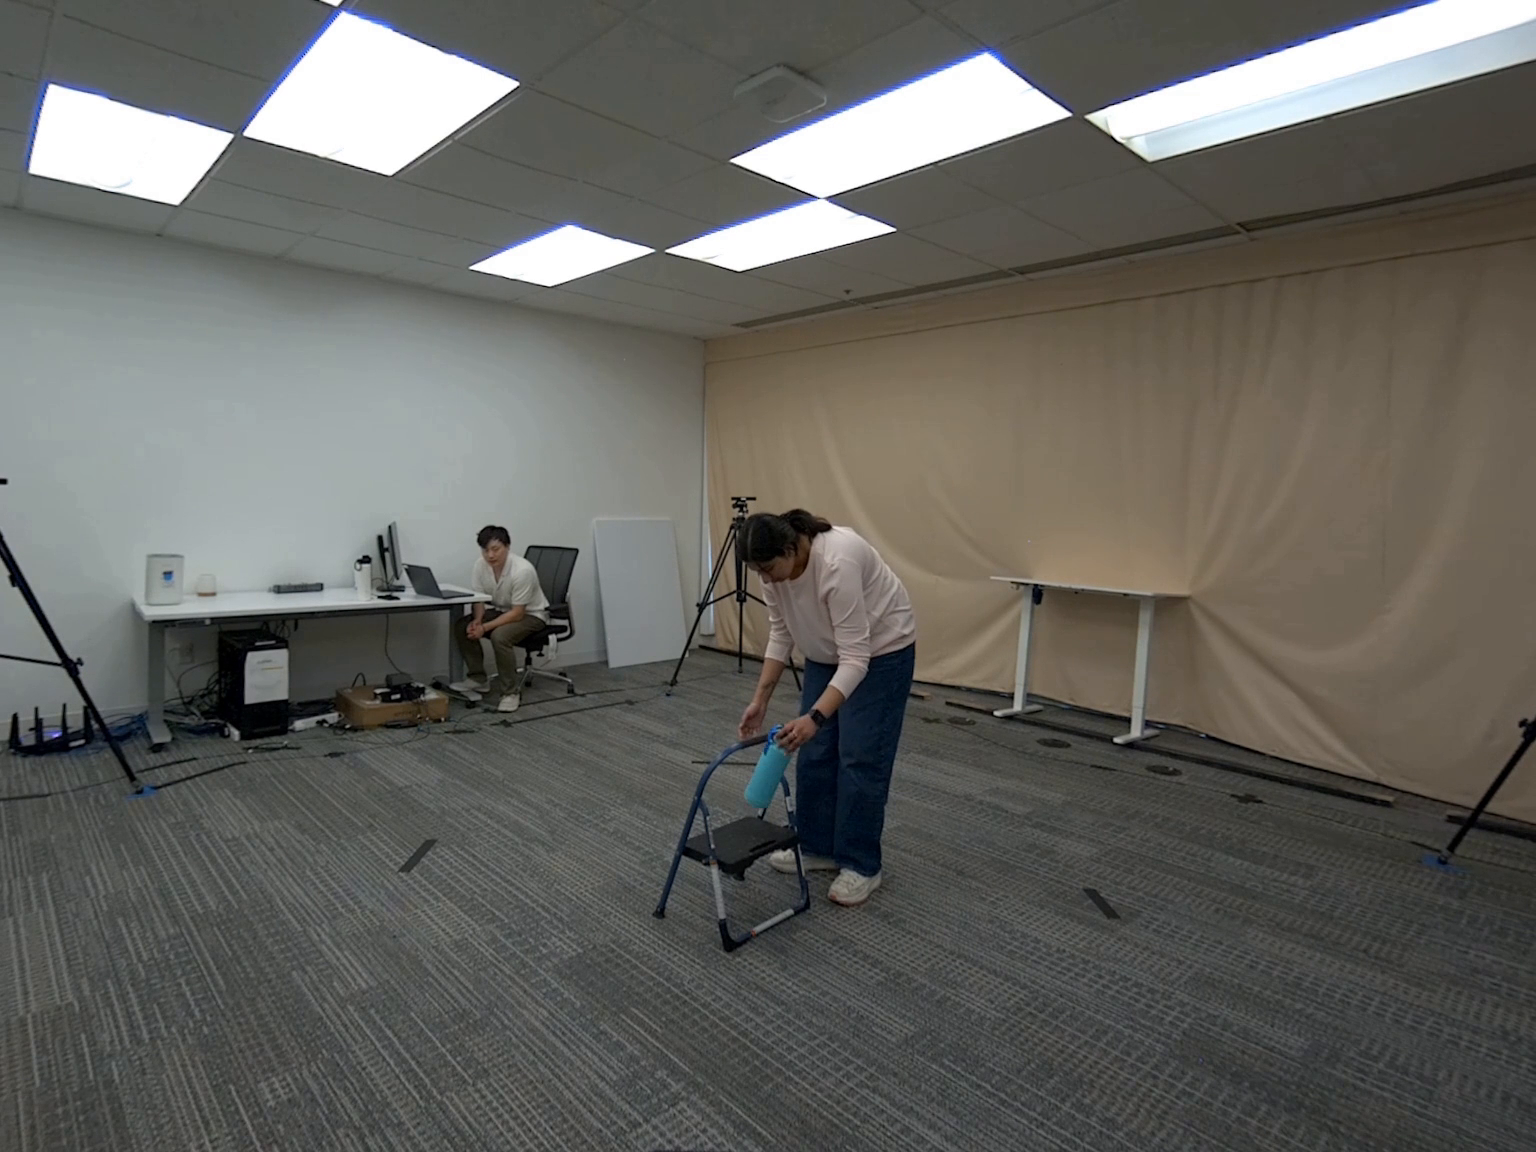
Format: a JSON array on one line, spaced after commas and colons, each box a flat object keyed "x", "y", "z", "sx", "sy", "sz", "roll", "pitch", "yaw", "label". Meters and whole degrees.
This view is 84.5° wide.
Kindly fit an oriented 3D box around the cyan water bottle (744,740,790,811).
[{"x": 0.001, "y": 0.601, "z": 2.664, "sx": 0.091, "sy": 0.281, "sz": 0.093, "roll": 20, "pitch": 17, "yaw": -8, "label": "cyan water bottle"}]
